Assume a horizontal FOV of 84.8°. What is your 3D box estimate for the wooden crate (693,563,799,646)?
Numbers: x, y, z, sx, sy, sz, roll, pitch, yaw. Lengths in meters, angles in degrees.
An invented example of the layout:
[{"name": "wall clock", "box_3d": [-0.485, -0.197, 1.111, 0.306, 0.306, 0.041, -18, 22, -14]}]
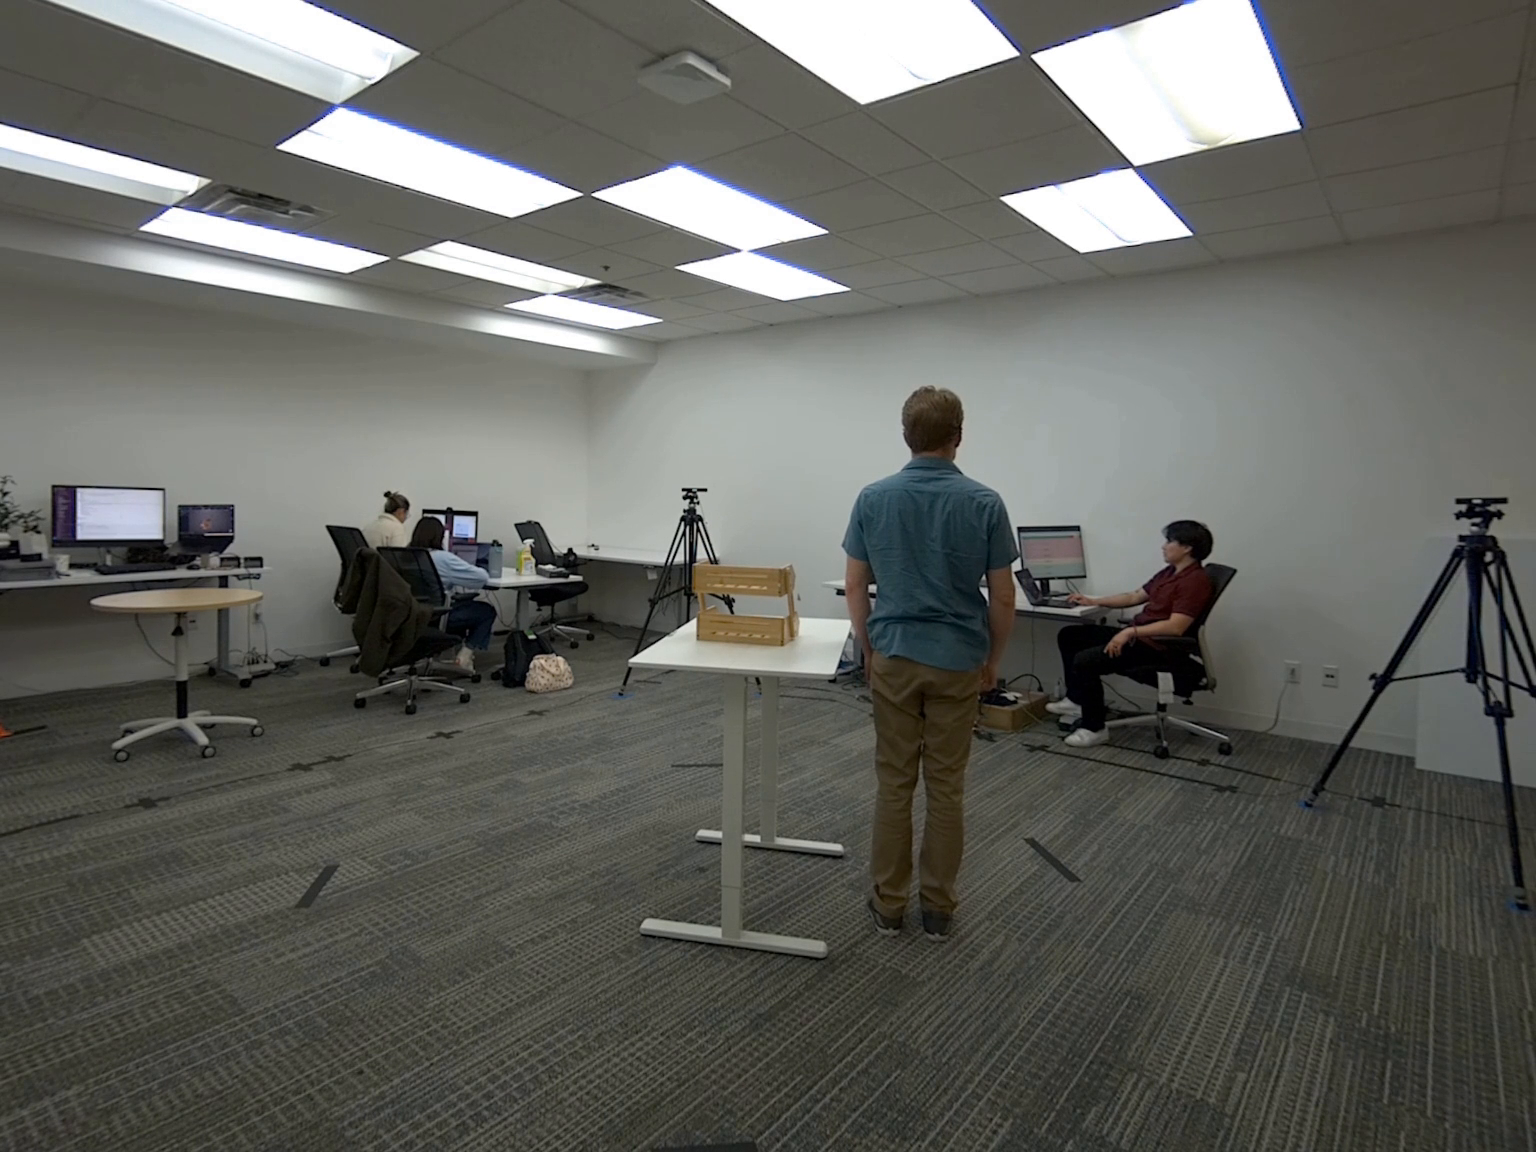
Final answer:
[{"name": "wooden crate", "box_3d": [-0.076, 0.076, 2.898, 0.330, 0.272, 0.298, 2, 6, 15]}]
